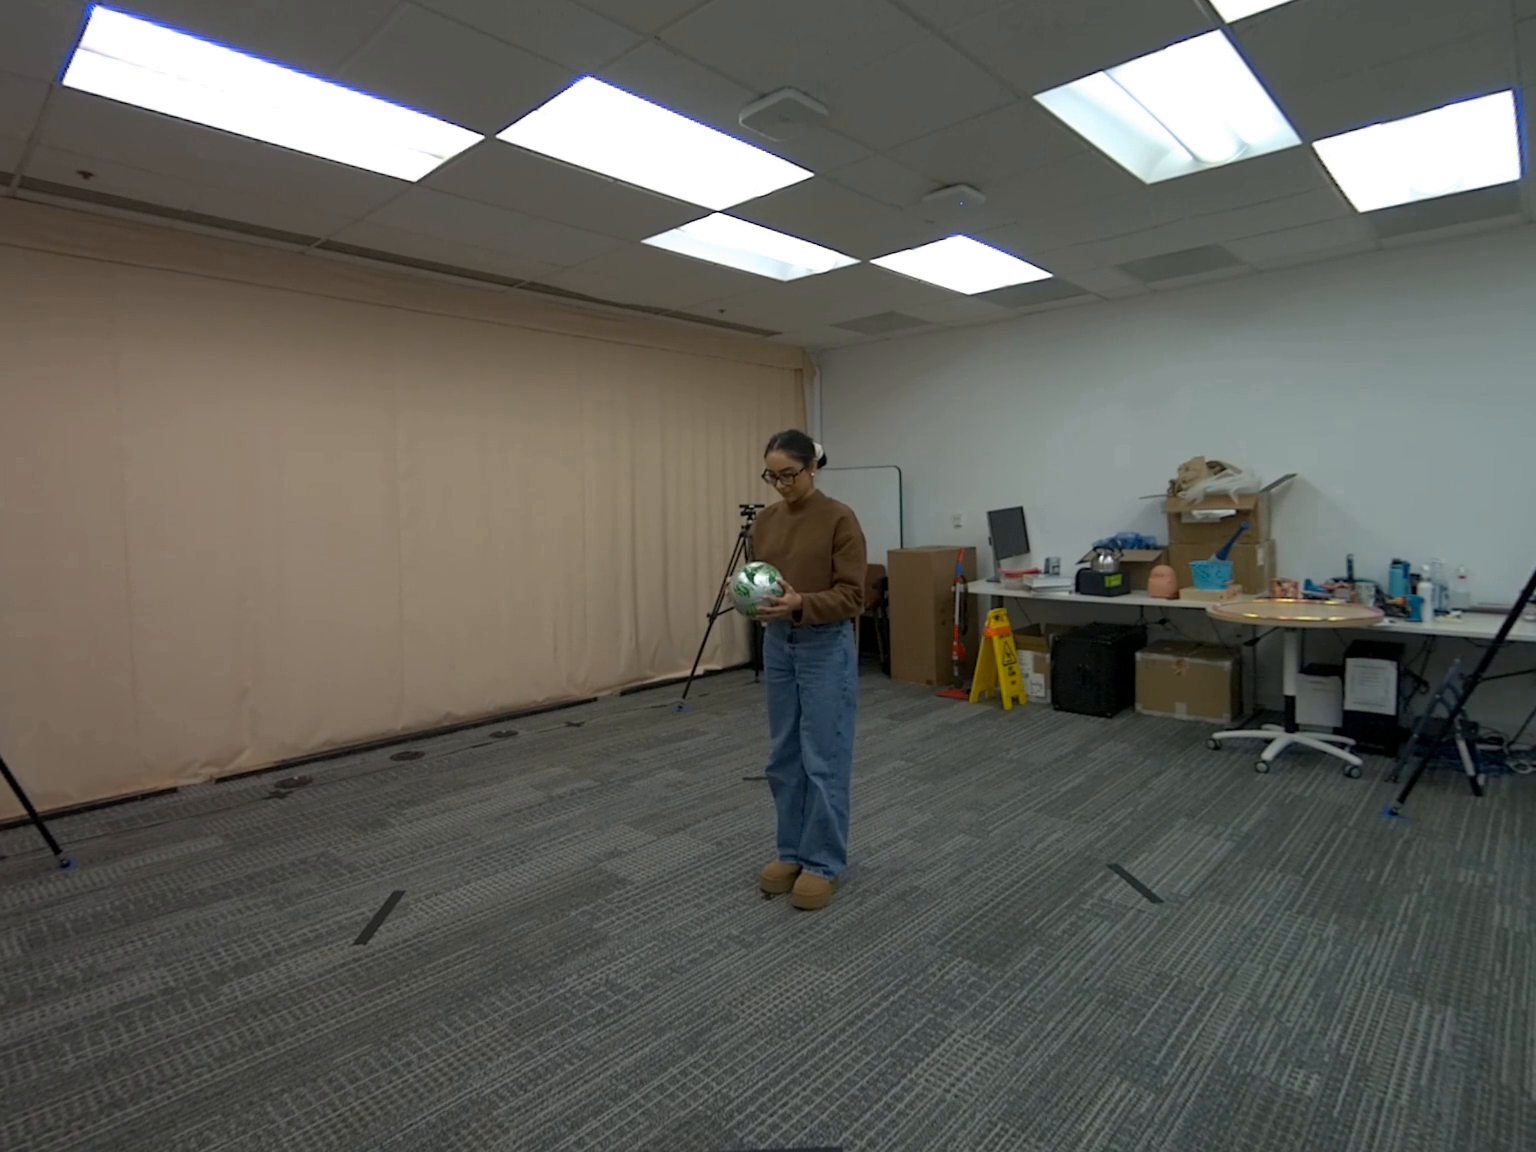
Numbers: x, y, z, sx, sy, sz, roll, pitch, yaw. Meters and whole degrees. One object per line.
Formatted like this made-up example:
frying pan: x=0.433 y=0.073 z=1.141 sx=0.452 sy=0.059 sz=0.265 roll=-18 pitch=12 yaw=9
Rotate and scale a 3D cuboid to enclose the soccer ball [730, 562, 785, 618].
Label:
soccer ball: x=-0.025 y=0.048 z=2.737 sx=0.187 sy=0.187 sz=0.188 roll=-1 pitch=4 yaw=-2
